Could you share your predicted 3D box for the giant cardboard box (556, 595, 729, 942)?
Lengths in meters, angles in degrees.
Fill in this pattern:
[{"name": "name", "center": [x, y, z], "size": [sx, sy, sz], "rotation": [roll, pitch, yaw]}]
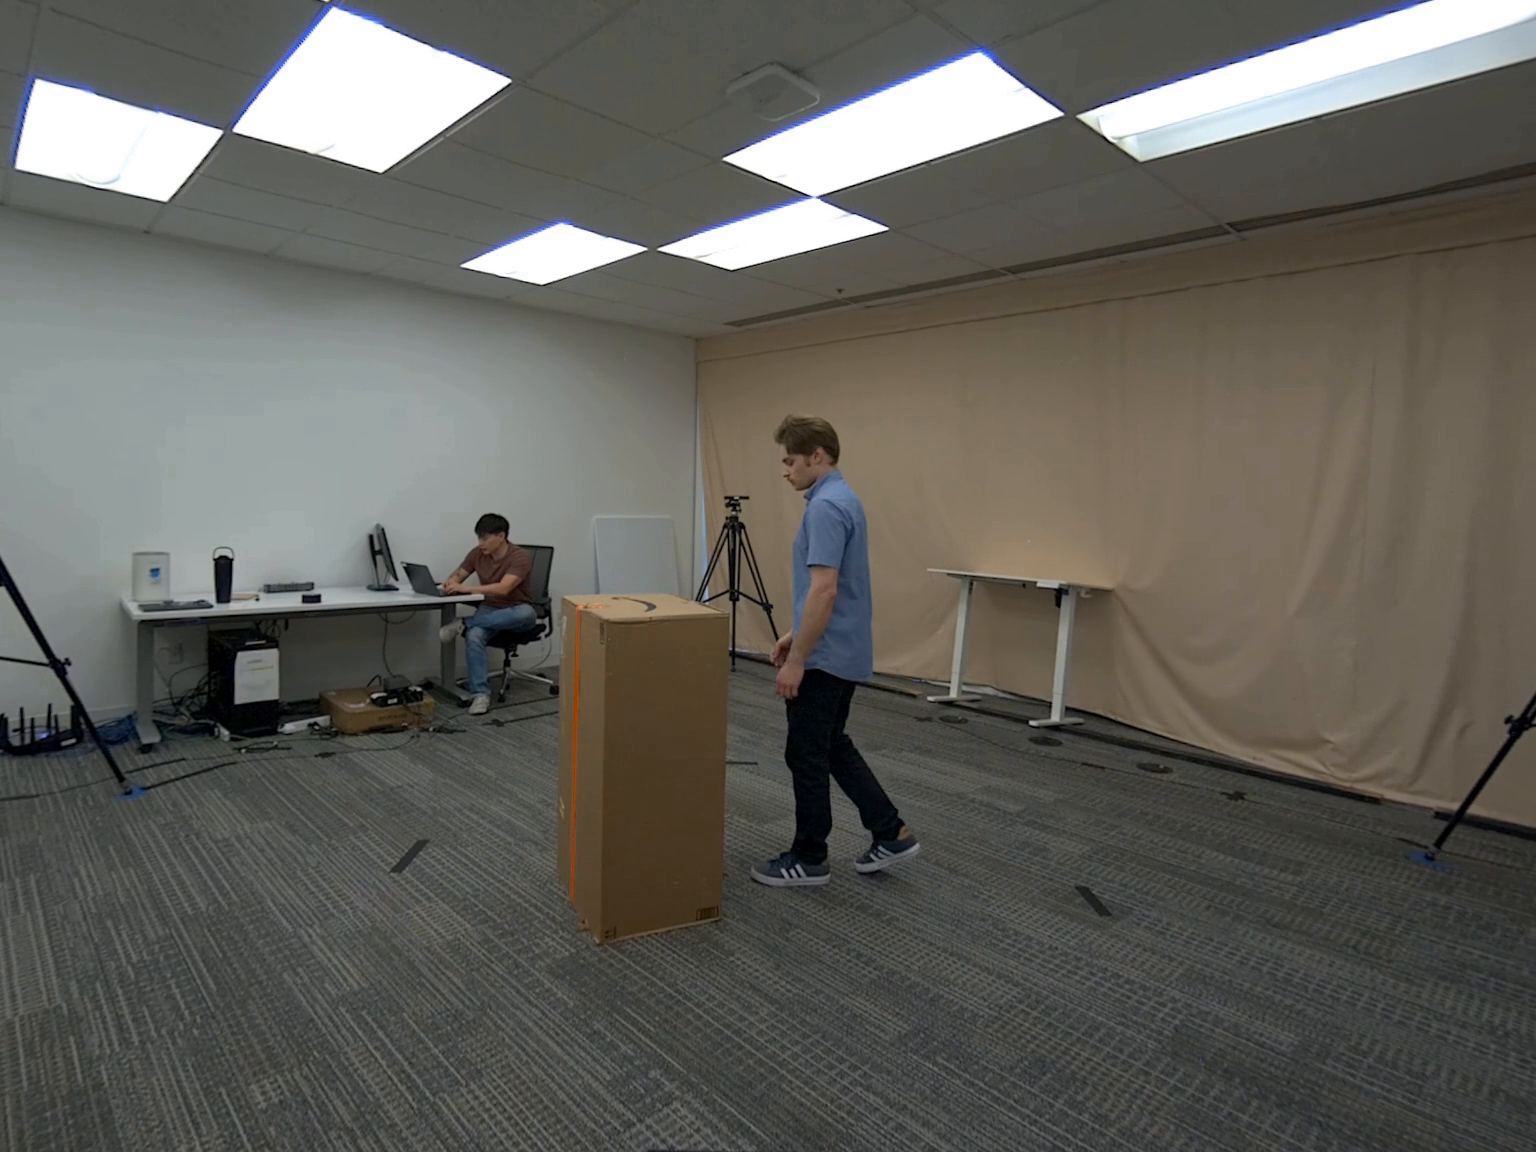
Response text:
[{"name": "giant cardboard box", "center": [-0.458, 0.605, 2.904], "size": [0.418, 1.023, 0.590], "rotation": [0, 4, -27]}]
